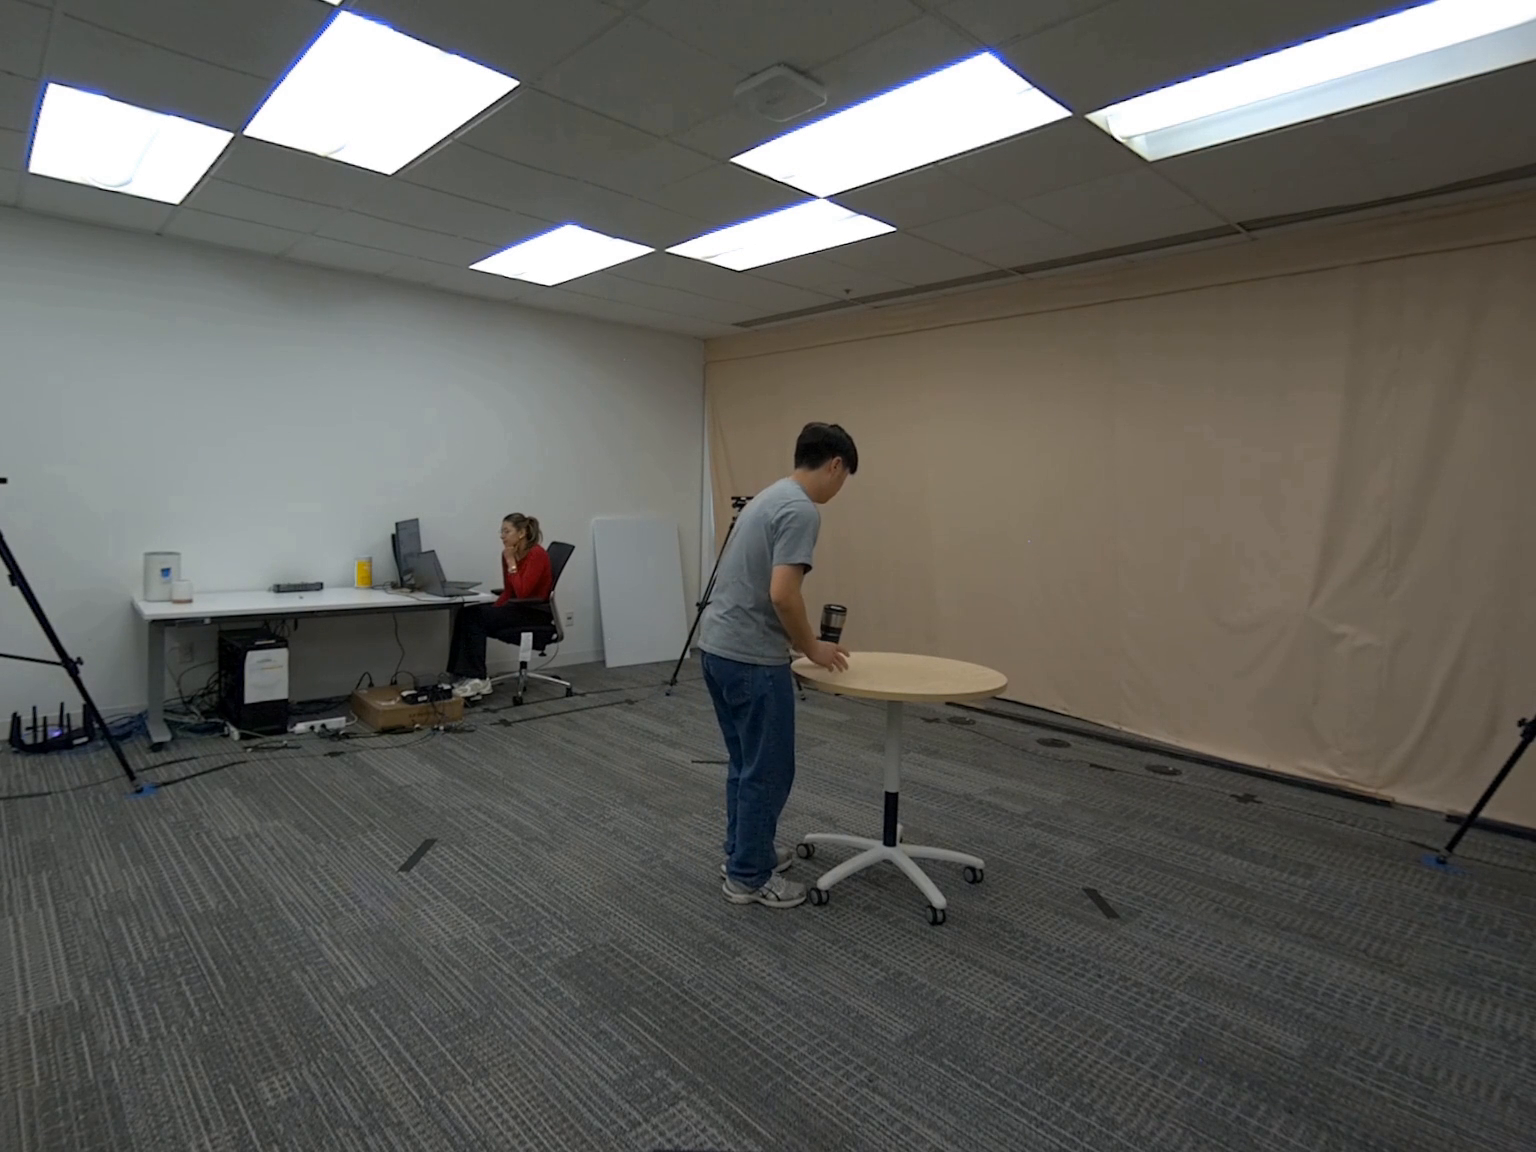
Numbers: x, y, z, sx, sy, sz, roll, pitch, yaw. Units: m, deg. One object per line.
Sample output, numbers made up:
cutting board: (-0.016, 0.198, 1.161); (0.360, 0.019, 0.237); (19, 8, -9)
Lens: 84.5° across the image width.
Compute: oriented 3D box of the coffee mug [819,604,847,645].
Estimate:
coffee mug: (0.228, 0.209, 3.075); (0.089, 0.202, 0.121); (6, 5, 10)
